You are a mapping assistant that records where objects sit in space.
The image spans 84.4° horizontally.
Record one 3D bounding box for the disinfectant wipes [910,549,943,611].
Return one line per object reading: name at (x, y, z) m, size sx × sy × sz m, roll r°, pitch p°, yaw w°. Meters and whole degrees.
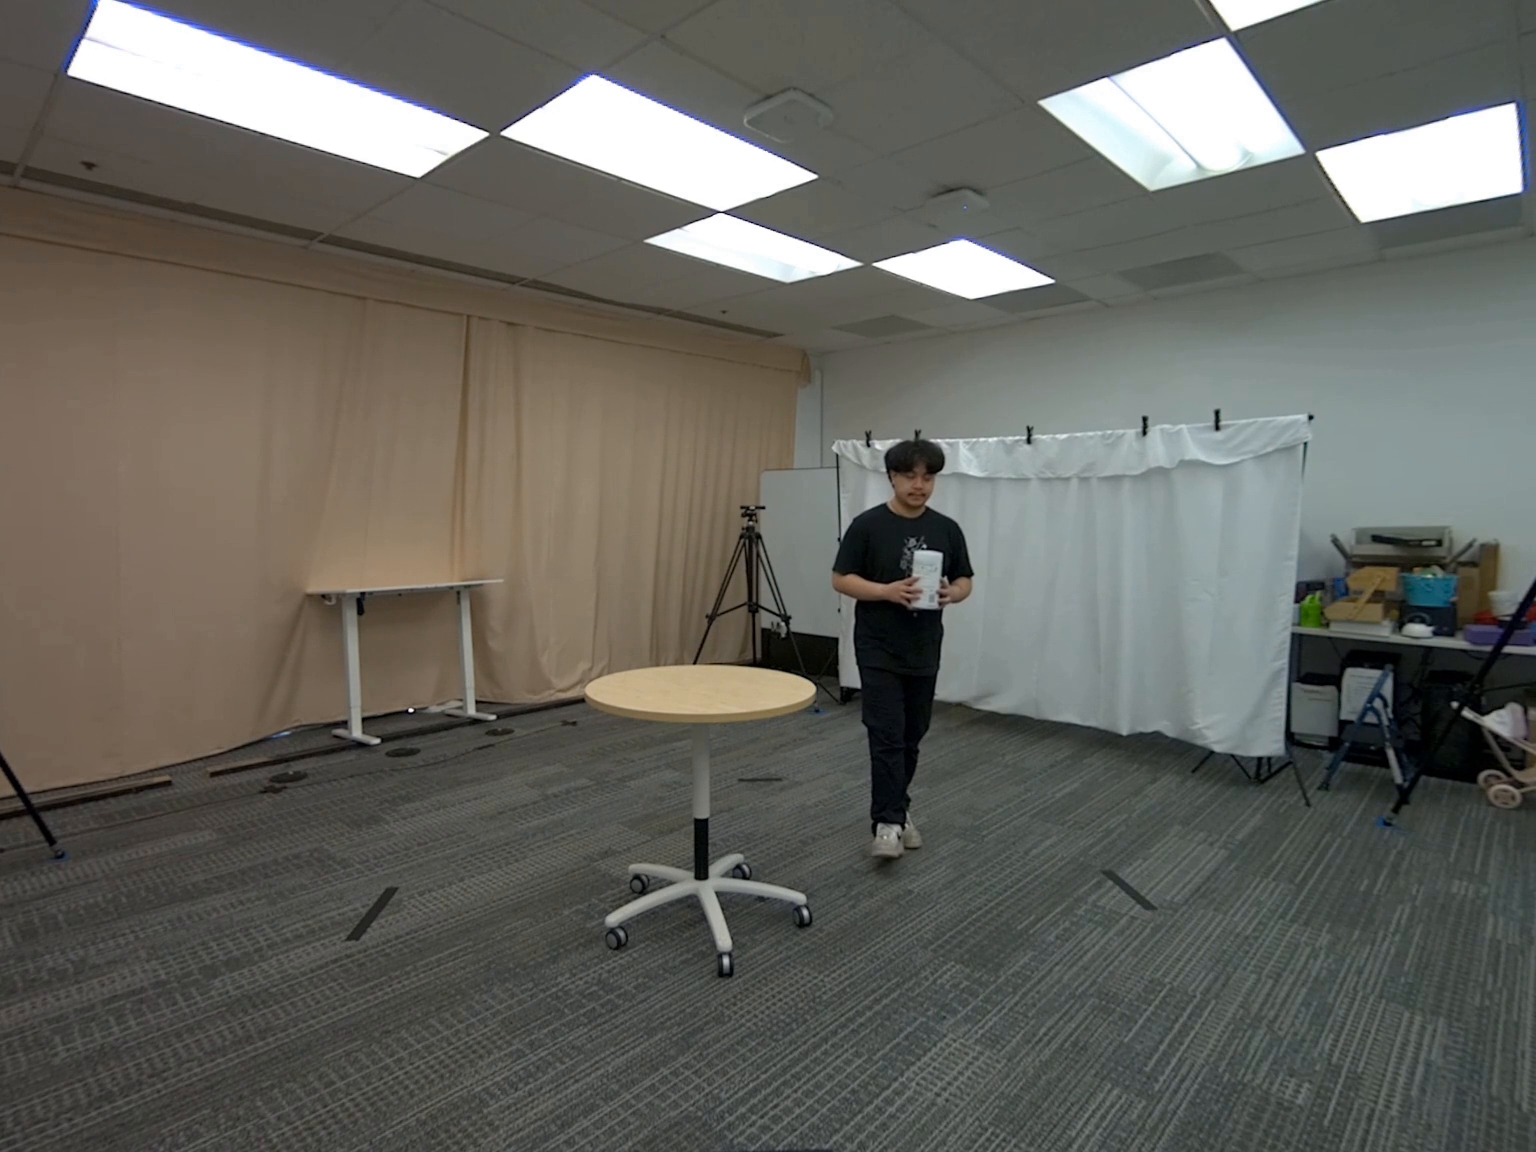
disinfectant wipes at (0.611, 0.013, 3.246) m, size 0.117 × 0.216 × 0.118 m, roll 3°, pitch 7°, yaw -2°
